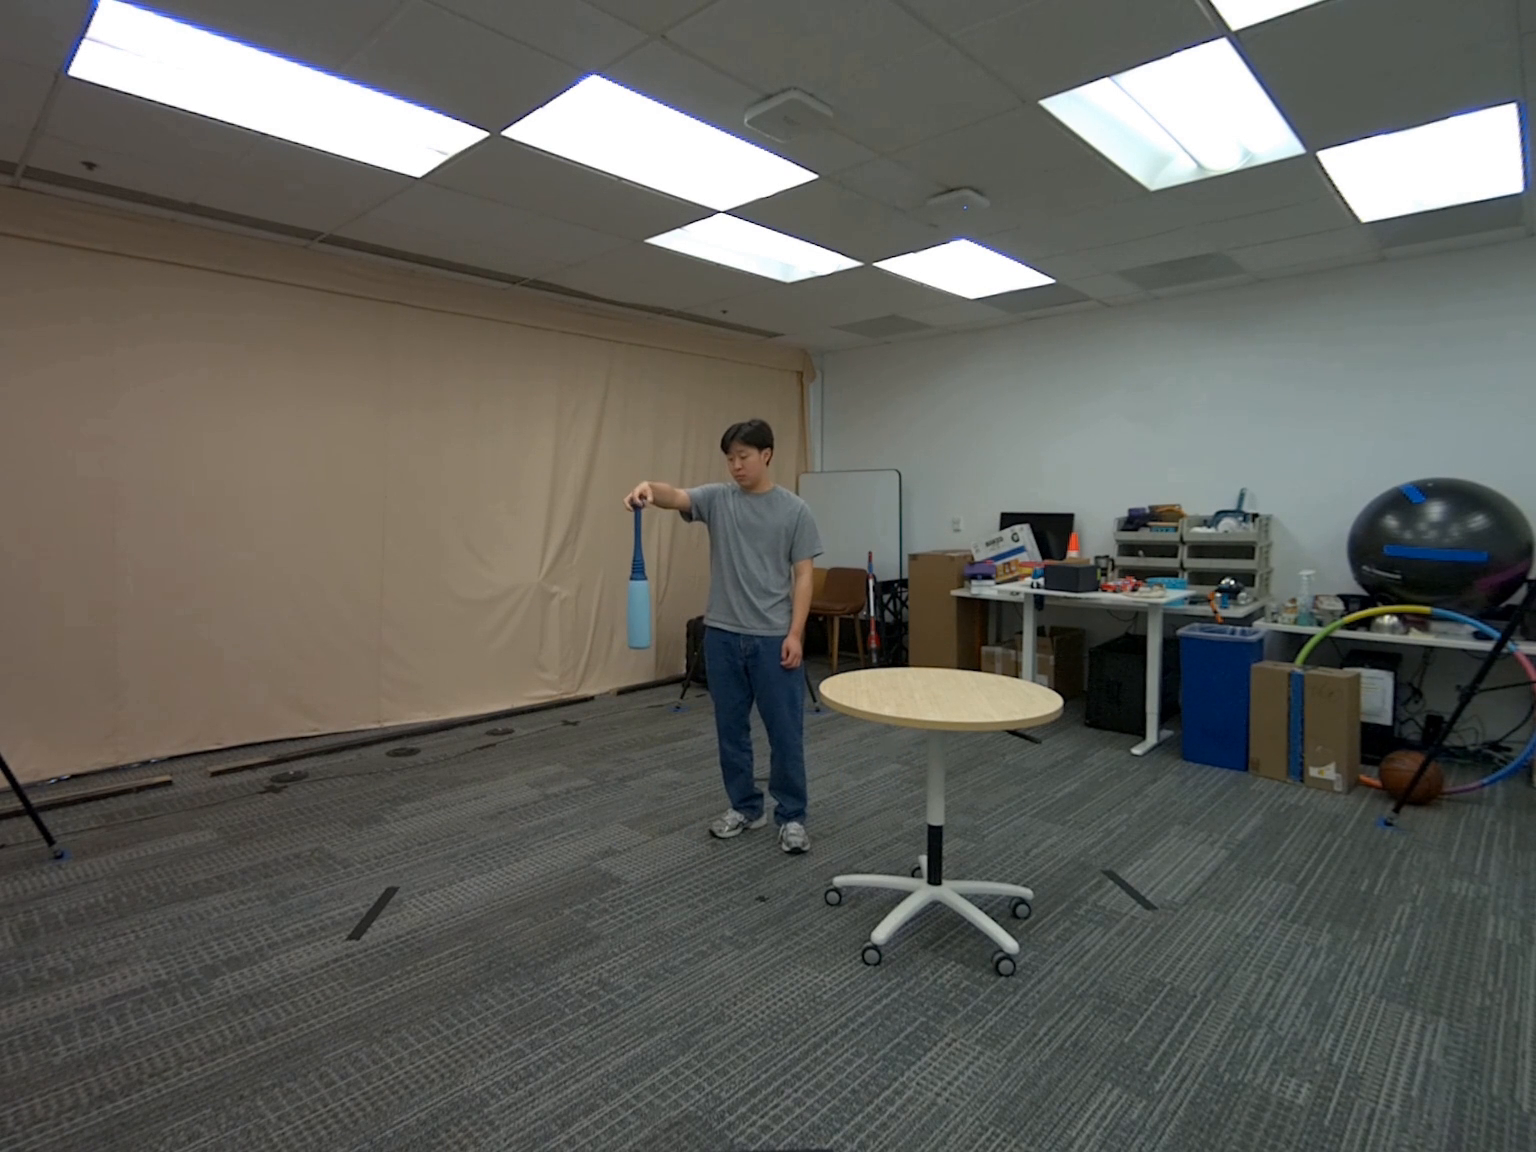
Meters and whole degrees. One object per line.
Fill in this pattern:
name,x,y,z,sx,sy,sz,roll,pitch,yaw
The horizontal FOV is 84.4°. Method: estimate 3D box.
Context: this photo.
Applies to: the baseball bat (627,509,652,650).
baseball bat,-0.469,-0.006,3.075,0.089,0.543,0.089,-2,1,-2
